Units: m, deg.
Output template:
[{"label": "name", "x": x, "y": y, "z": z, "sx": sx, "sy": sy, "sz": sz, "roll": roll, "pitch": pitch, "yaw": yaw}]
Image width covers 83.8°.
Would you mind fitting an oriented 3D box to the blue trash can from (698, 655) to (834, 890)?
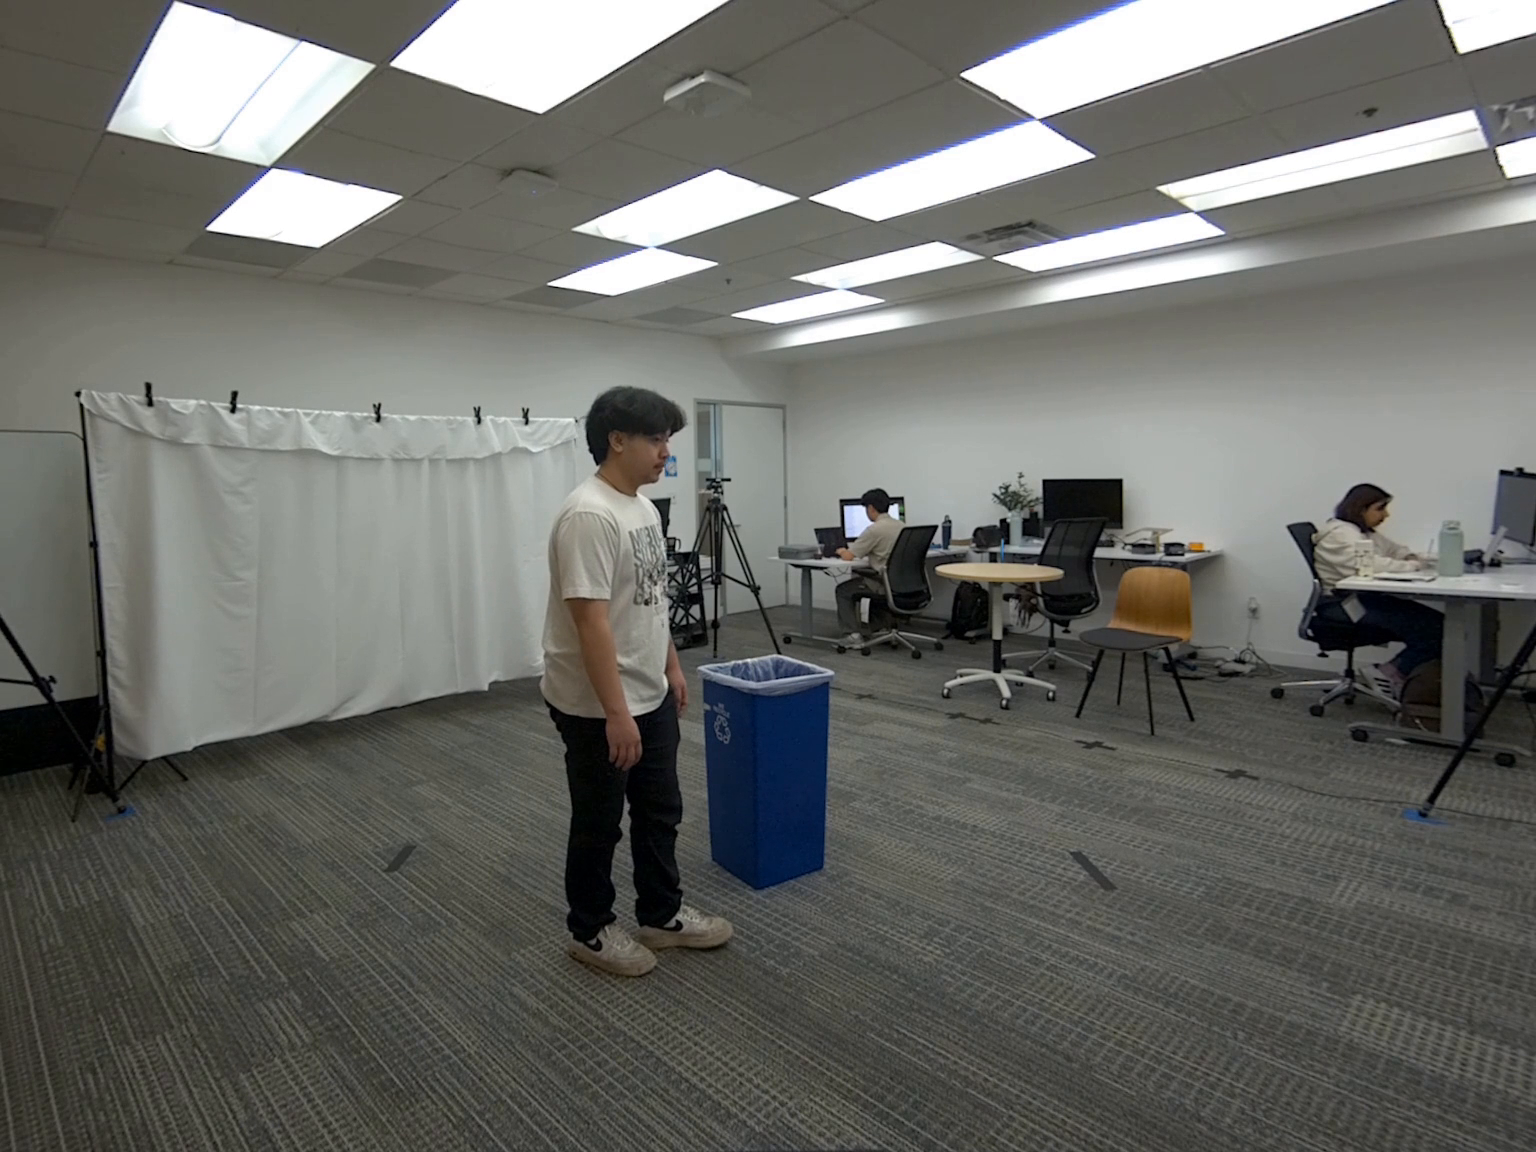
[{"label": "blue trash can", "x": 0.001, "y": 0.687, "z": 3.070, "sx": 0.368, "sy": 0.711, "sz": 0.385, "roll": -4, "pitch": 5, "yaw": -35}]
